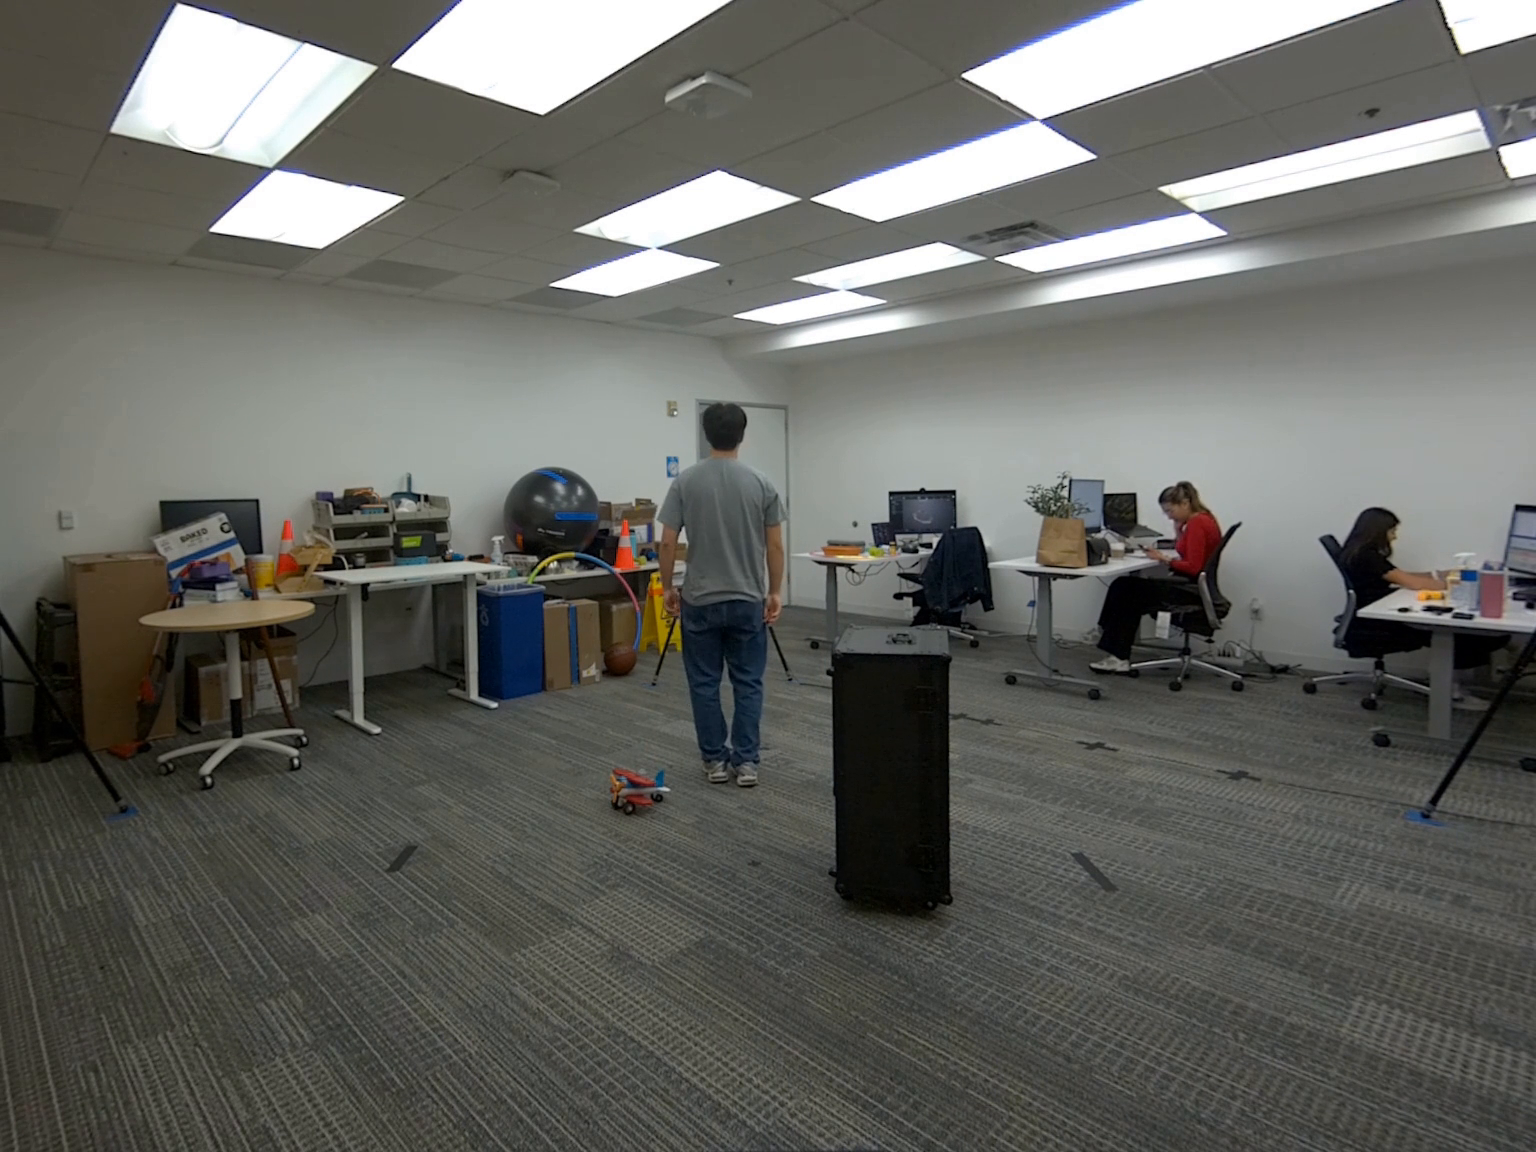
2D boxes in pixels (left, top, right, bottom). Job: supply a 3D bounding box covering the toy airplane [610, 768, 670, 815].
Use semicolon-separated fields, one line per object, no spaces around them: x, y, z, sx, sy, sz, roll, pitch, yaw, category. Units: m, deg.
-0.565;0.916;3.684;0.256;0.155;0.256;1;7;20;toy airplane
